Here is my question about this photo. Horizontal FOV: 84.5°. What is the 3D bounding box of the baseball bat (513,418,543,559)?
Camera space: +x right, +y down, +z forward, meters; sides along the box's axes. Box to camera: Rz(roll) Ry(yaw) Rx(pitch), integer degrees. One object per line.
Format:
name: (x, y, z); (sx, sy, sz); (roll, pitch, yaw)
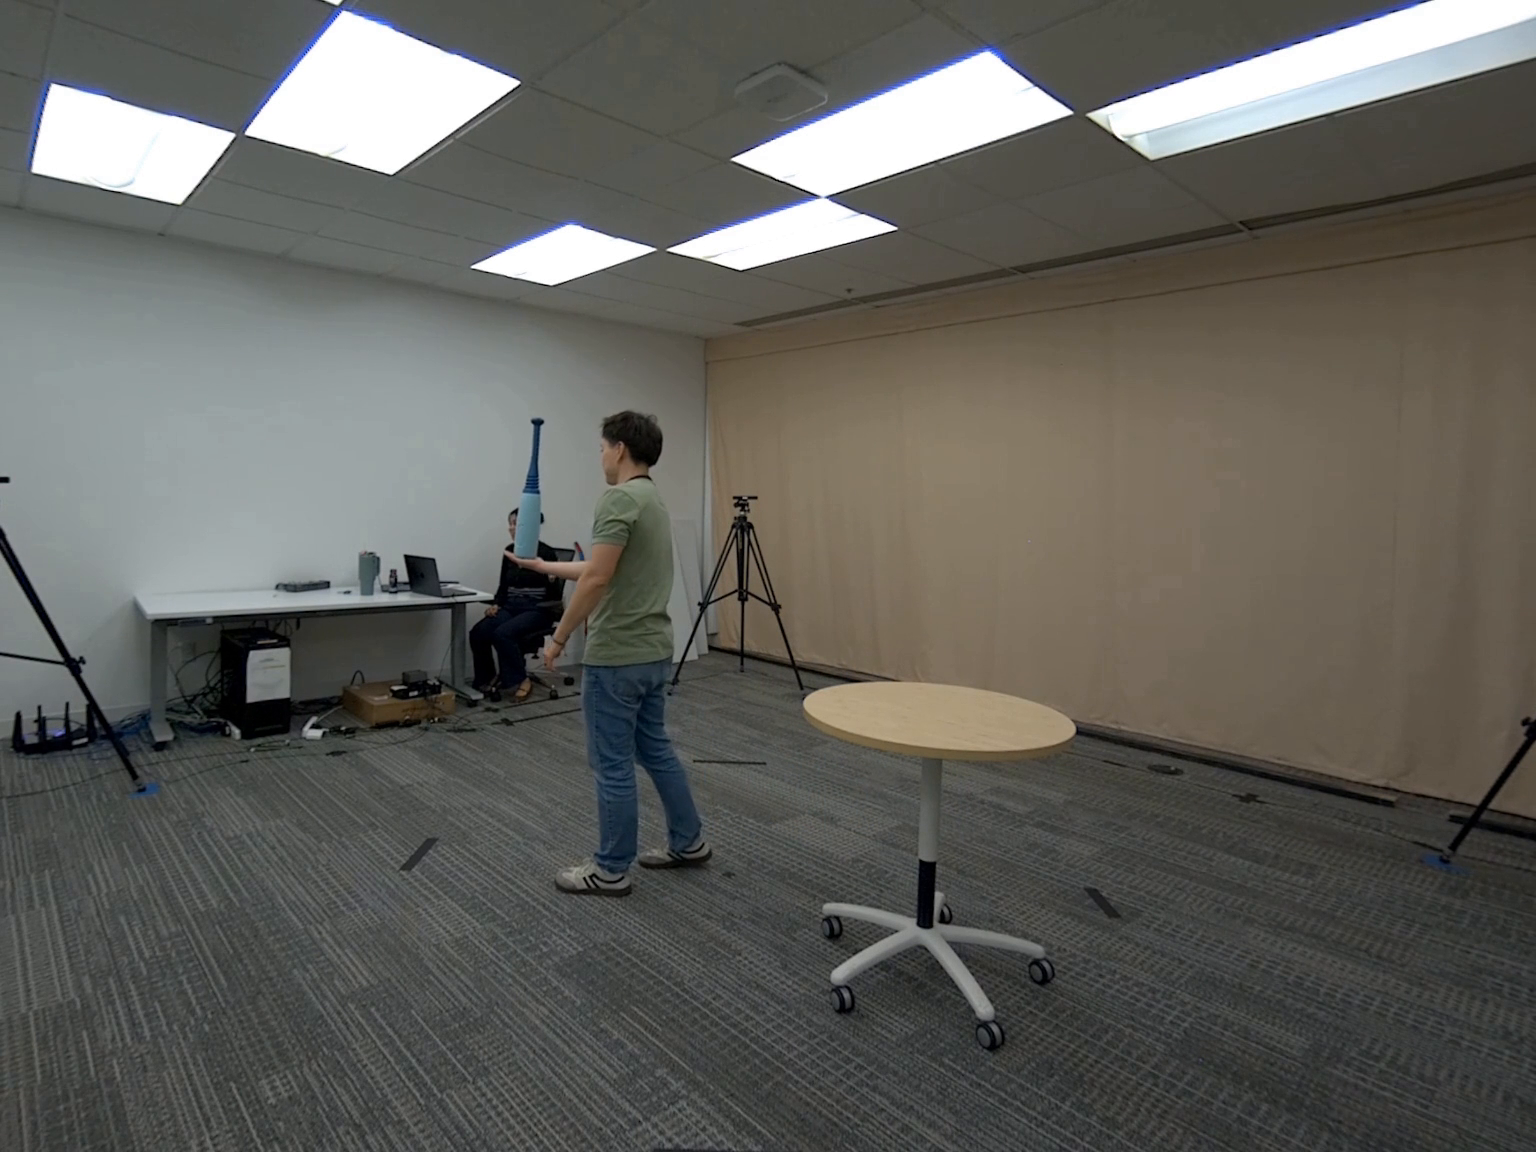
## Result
baseball bat: (-0.898, -0.332, 3.209); (0.089, 0.544, 0.089); (4, -3, -1)
